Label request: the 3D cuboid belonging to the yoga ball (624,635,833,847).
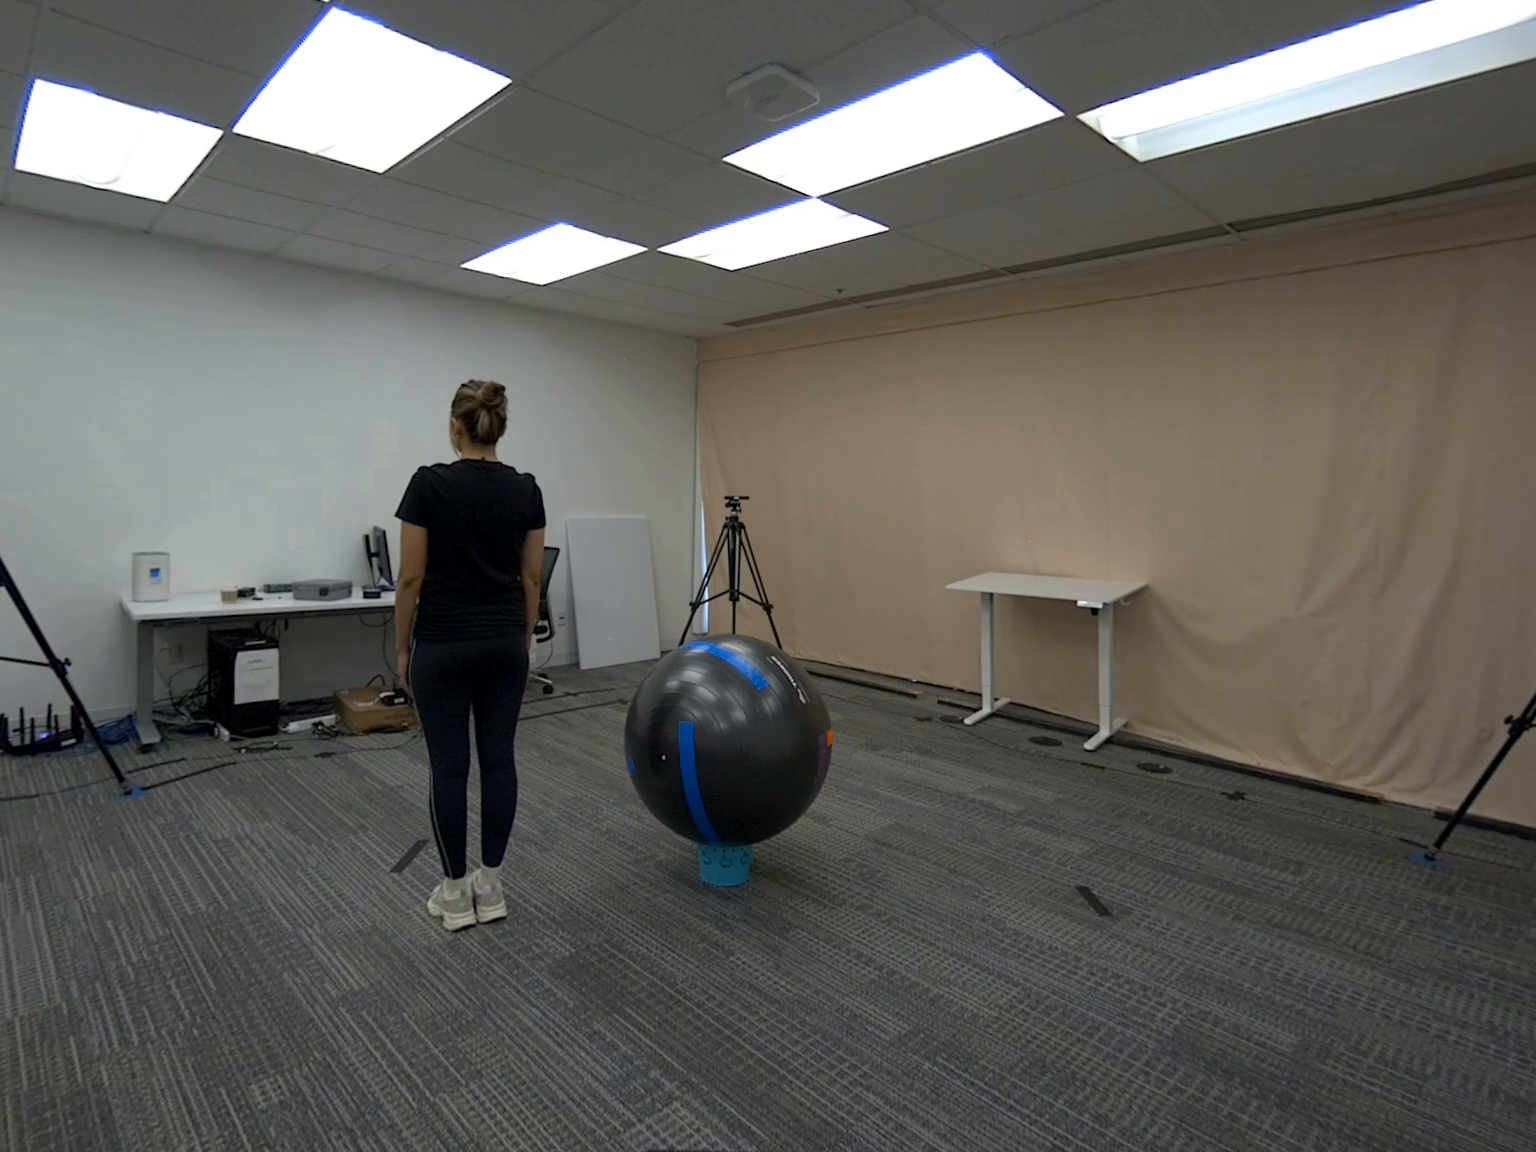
[{"bbox_3d":[-0.150,0.594,3.079,0.757,0.756,0.761,1,4,-1],"label":"yoga ball"}]
